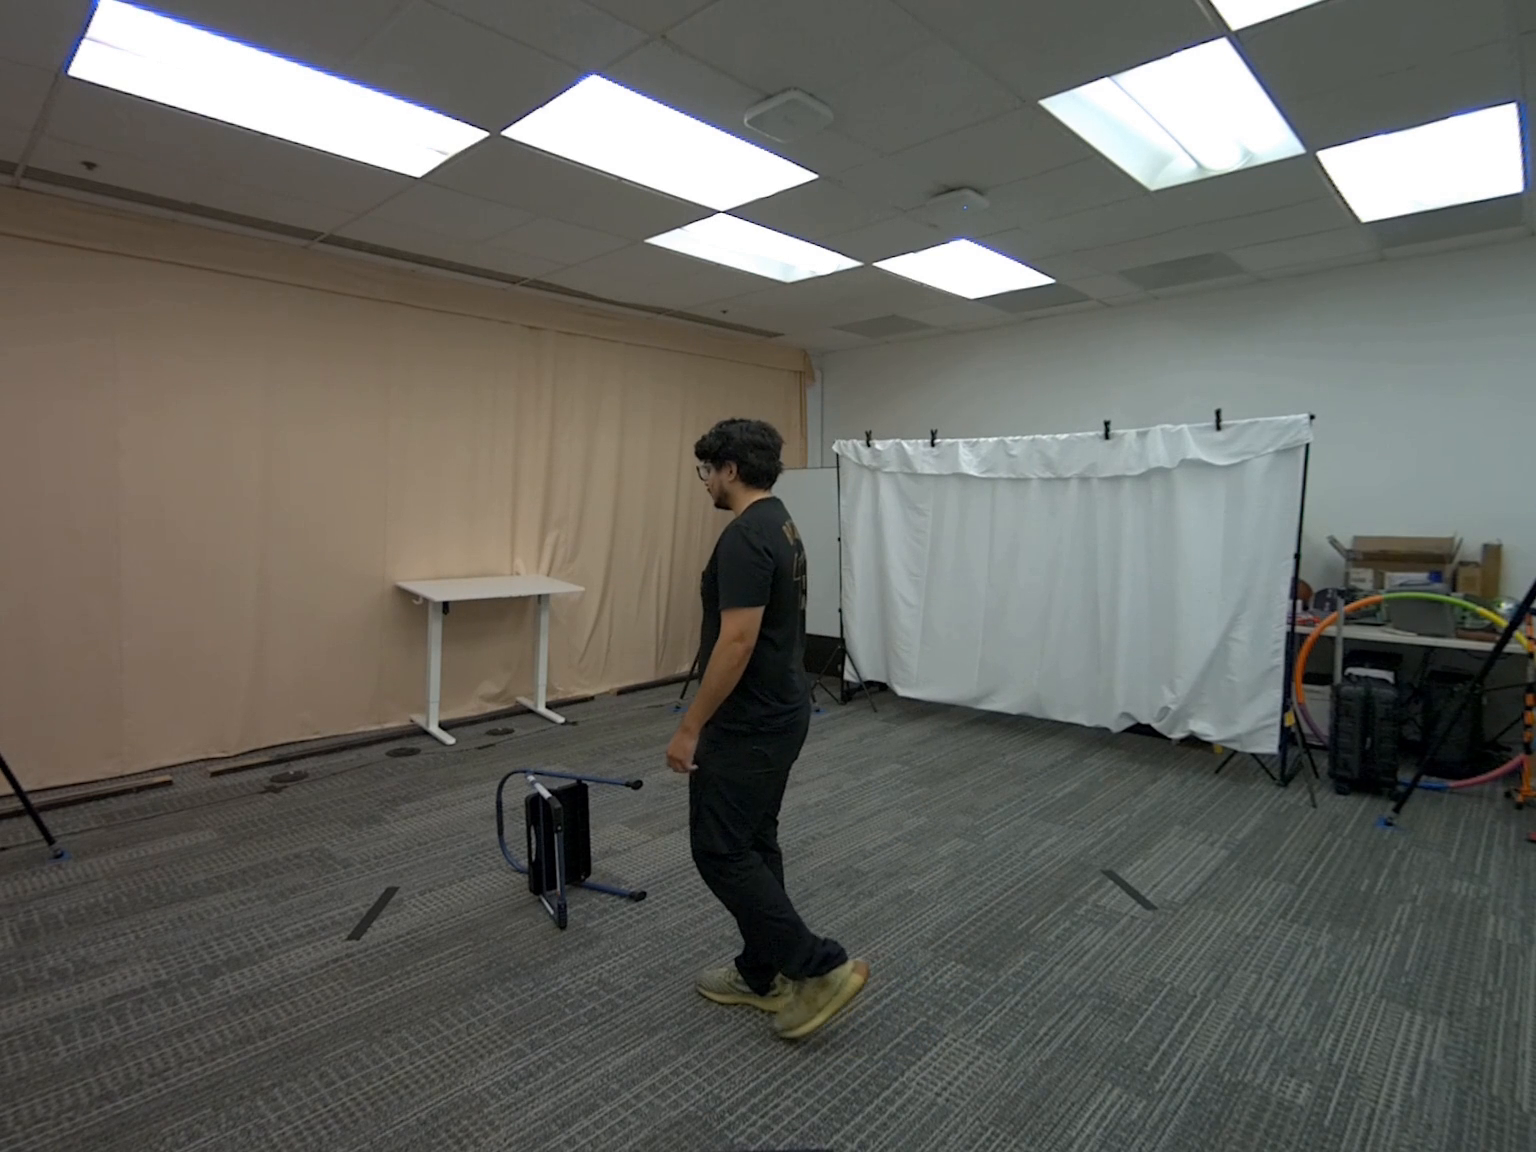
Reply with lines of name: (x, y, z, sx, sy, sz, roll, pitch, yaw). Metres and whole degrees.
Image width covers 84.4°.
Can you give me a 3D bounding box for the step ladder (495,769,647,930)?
step ladder: (-0.773, 0.934, 3.084, 0.338, 0.430, 0.626, -3, 3, -44)
